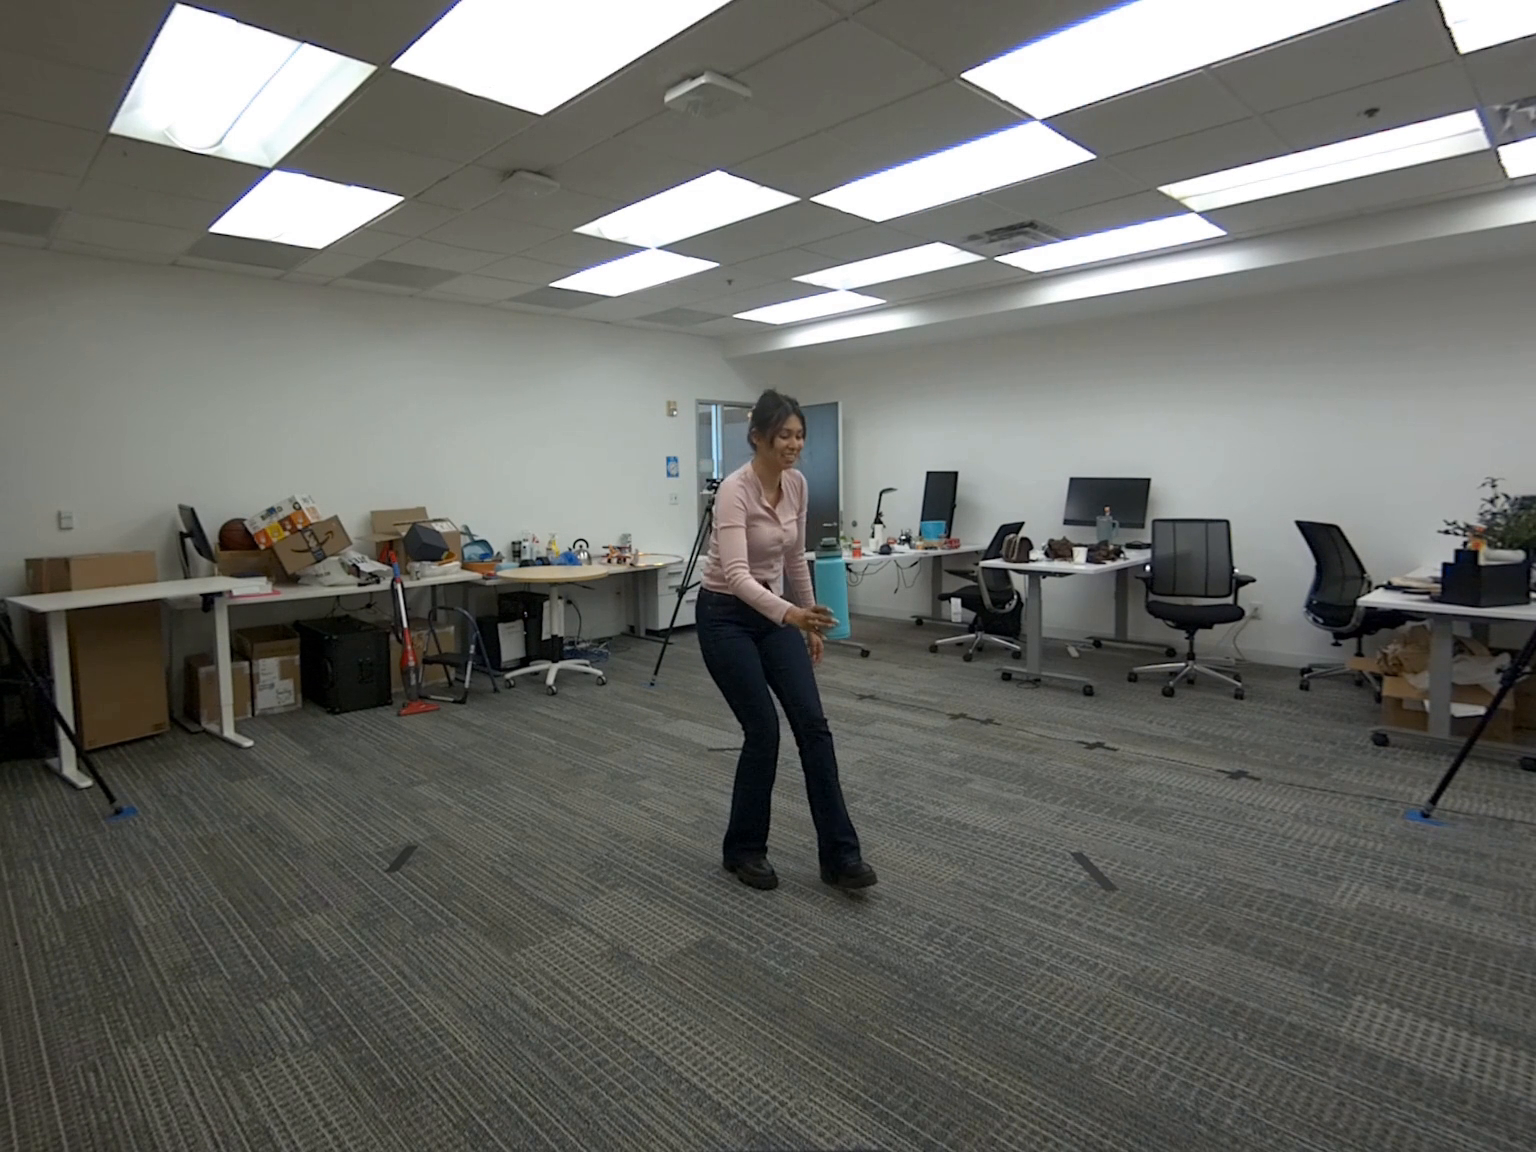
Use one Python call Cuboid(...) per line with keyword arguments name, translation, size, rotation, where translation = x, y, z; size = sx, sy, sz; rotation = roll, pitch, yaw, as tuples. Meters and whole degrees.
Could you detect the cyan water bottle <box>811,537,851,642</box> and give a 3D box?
Cuboid(name="cyan water bottle", translation=(0.182, 0.041, 2.450), size=(0.092, 0.283, 0.092), rotation=(-4, 2, -1))
